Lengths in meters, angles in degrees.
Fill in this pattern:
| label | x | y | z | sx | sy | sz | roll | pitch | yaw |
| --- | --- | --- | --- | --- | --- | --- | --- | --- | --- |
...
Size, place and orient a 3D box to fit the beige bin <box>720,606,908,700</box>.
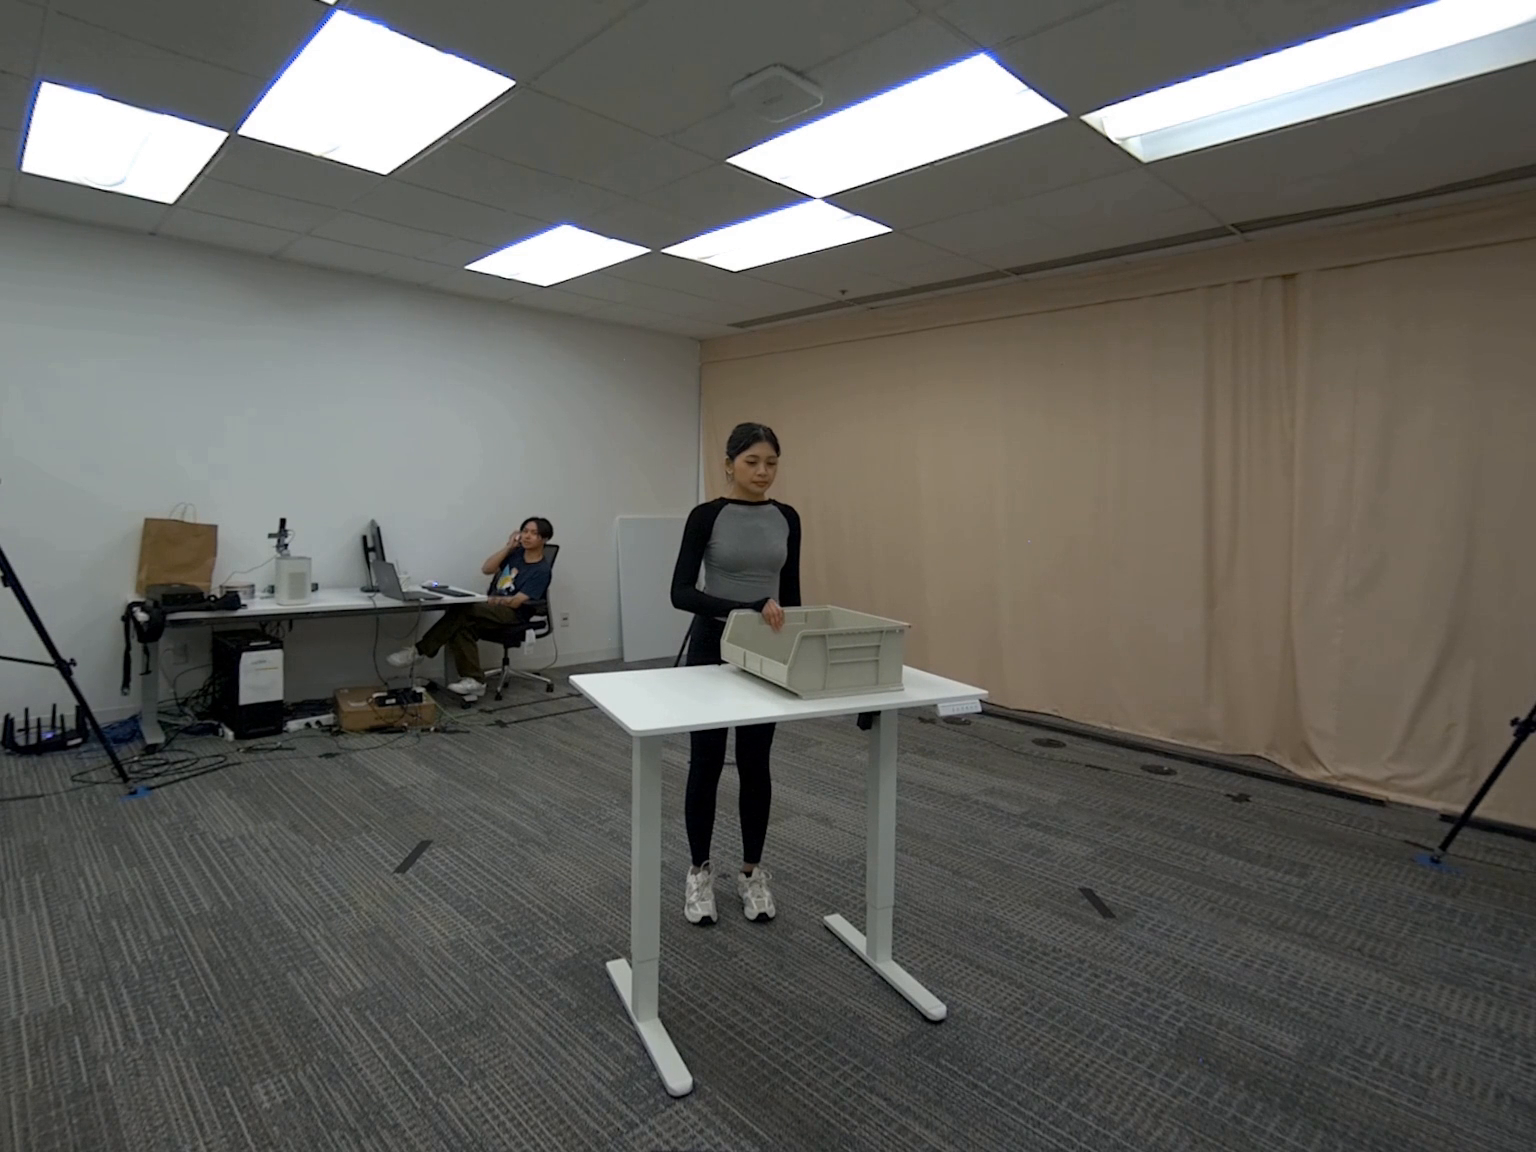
| label | x | y | z | sx | sy | sz | roll | pitch | yaw |
| --- | --- | --- | --- | --- | --- | --- | --- | --- | --- |
| beige bin | 0.117 | 0.211 | 2.376 | 0.370 | 0.188 | 0.431 | 0 | 4 | -26 |
